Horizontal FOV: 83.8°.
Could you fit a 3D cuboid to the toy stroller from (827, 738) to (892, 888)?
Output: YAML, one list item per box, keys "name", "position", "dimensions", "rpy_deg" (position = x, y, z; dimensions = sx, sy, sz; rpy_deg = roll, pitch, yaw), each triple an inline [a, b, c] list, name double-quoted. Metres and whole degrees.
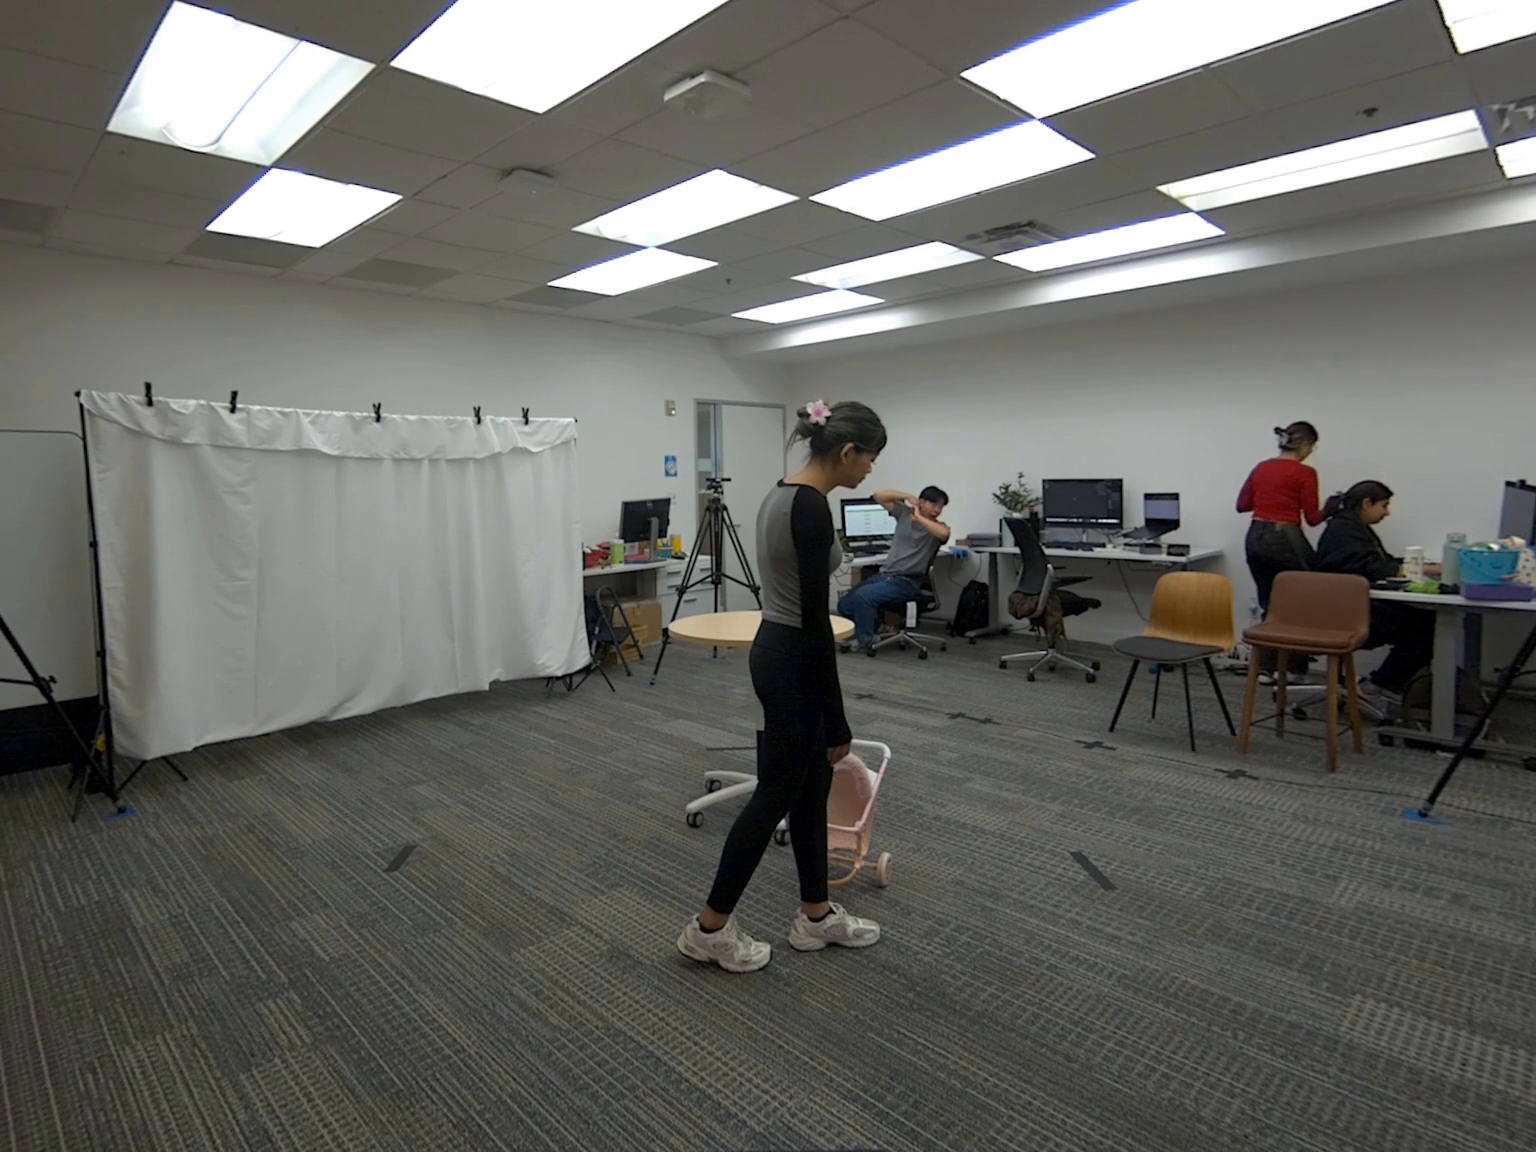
- name: "toy stroller"
  position: [0.253, 0.832, 2.914]
  dimensions: [0.289, 0.539, 0.329]
  rpy_deg: [0, -11, 34]
